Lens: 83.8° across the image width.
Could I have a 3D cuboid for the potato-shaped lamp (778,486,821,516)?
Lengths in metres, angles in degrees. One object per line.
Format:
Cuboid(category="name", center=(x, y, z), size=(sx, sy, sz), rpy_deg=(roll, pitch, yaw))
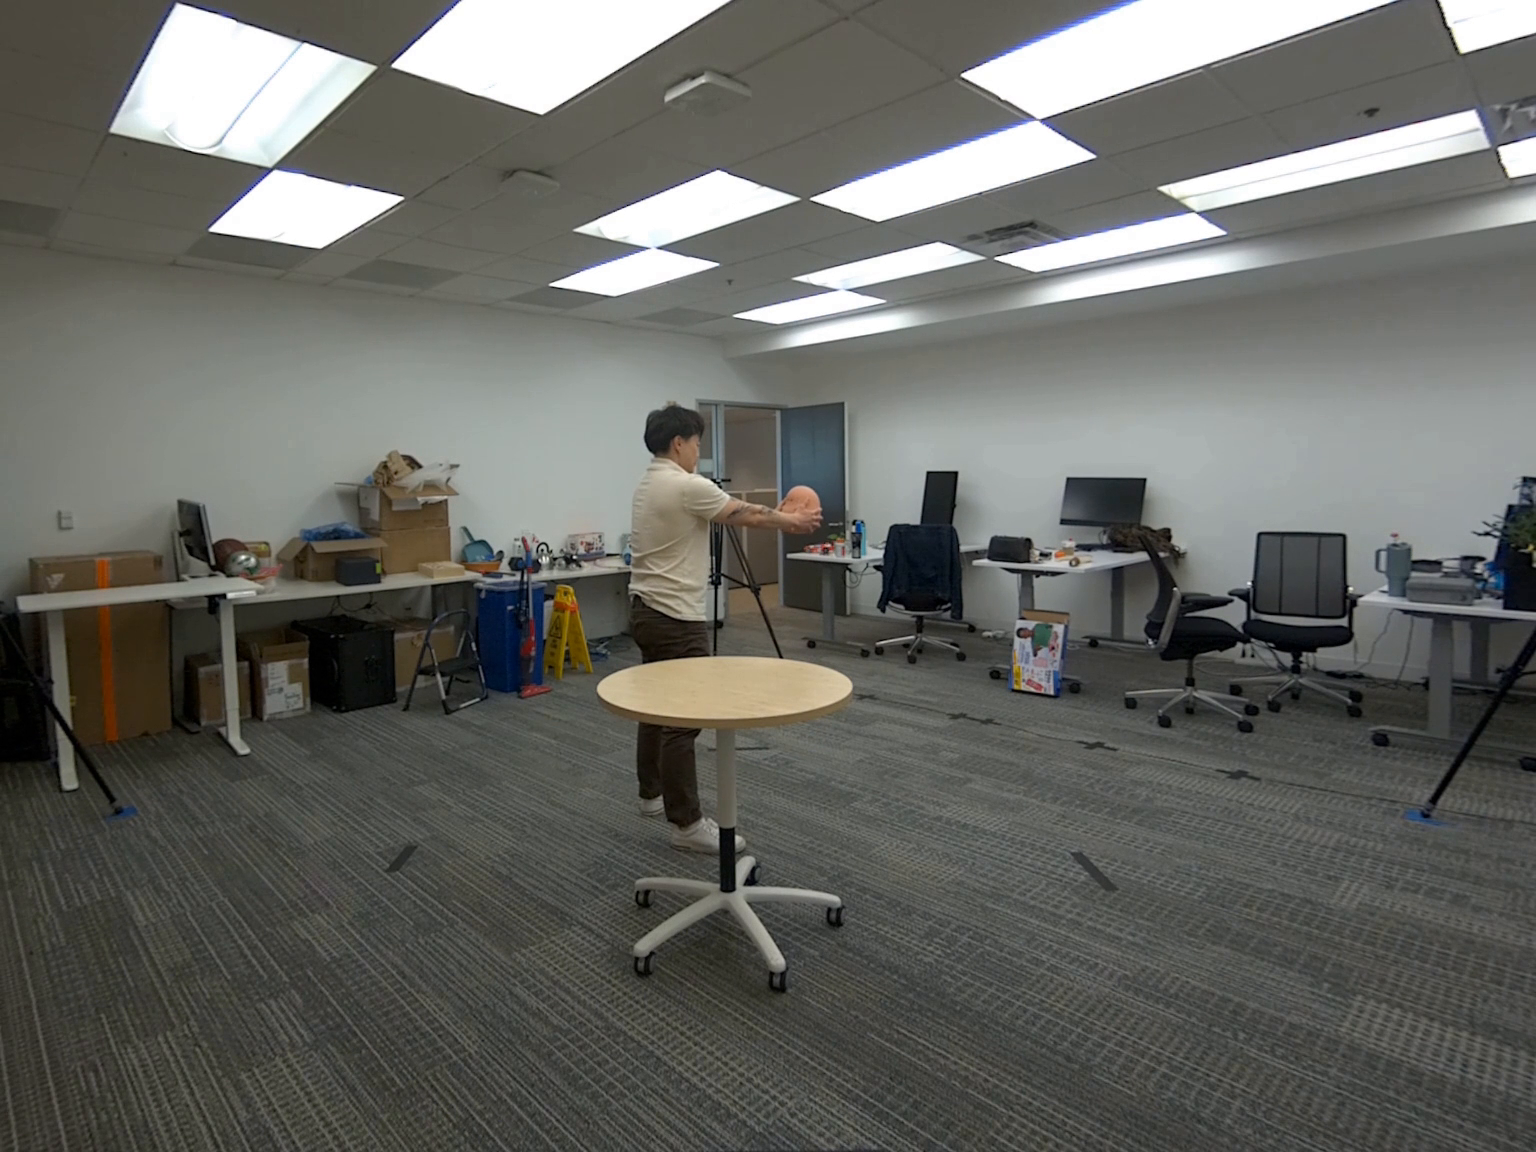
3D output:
Cuboid(category="potato-shaped lamp", center=(0.131, -0.282, 3.623), size=(0.167, 0.197, 0.169), rpy_deg=(1, 7, -26))
